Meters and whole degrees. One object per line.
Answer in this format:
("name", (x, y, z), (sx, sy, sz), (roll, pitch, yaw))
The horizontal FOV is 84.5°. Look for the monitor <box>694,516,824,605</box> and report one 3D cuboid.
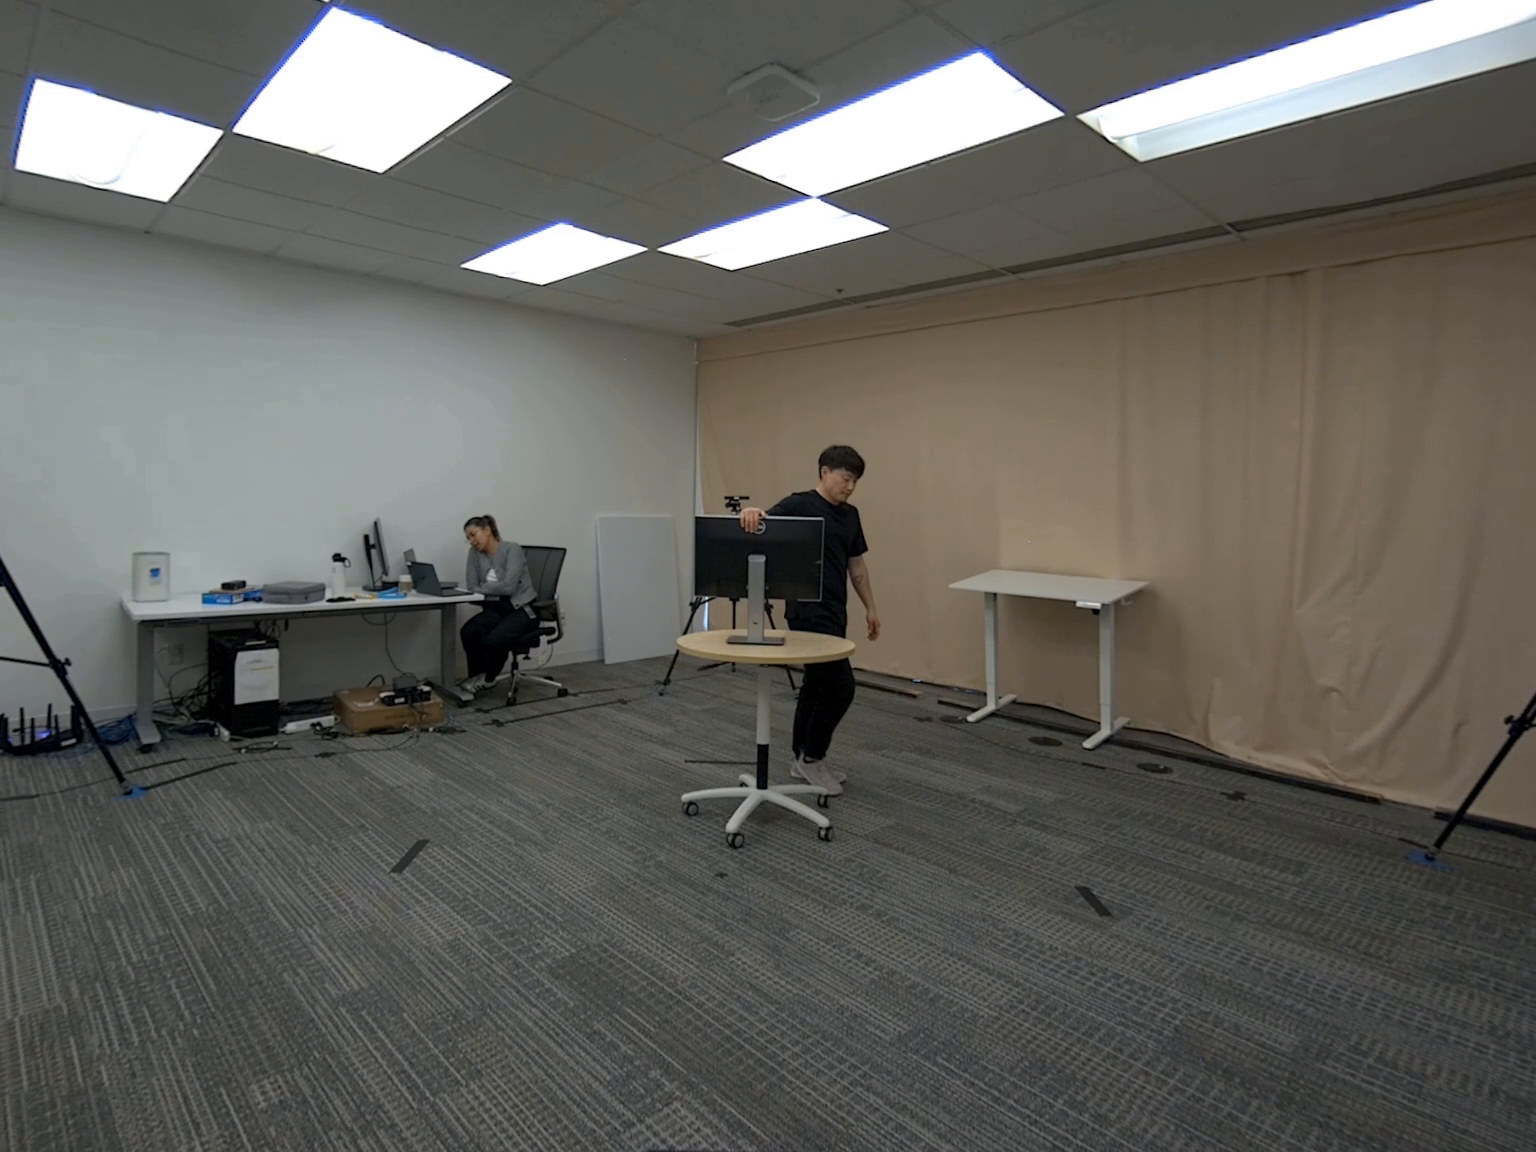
("monitor", (-0.050, 0.021, 3.607), (0.540, 0.522, 0.186), (2, 1, 3))
